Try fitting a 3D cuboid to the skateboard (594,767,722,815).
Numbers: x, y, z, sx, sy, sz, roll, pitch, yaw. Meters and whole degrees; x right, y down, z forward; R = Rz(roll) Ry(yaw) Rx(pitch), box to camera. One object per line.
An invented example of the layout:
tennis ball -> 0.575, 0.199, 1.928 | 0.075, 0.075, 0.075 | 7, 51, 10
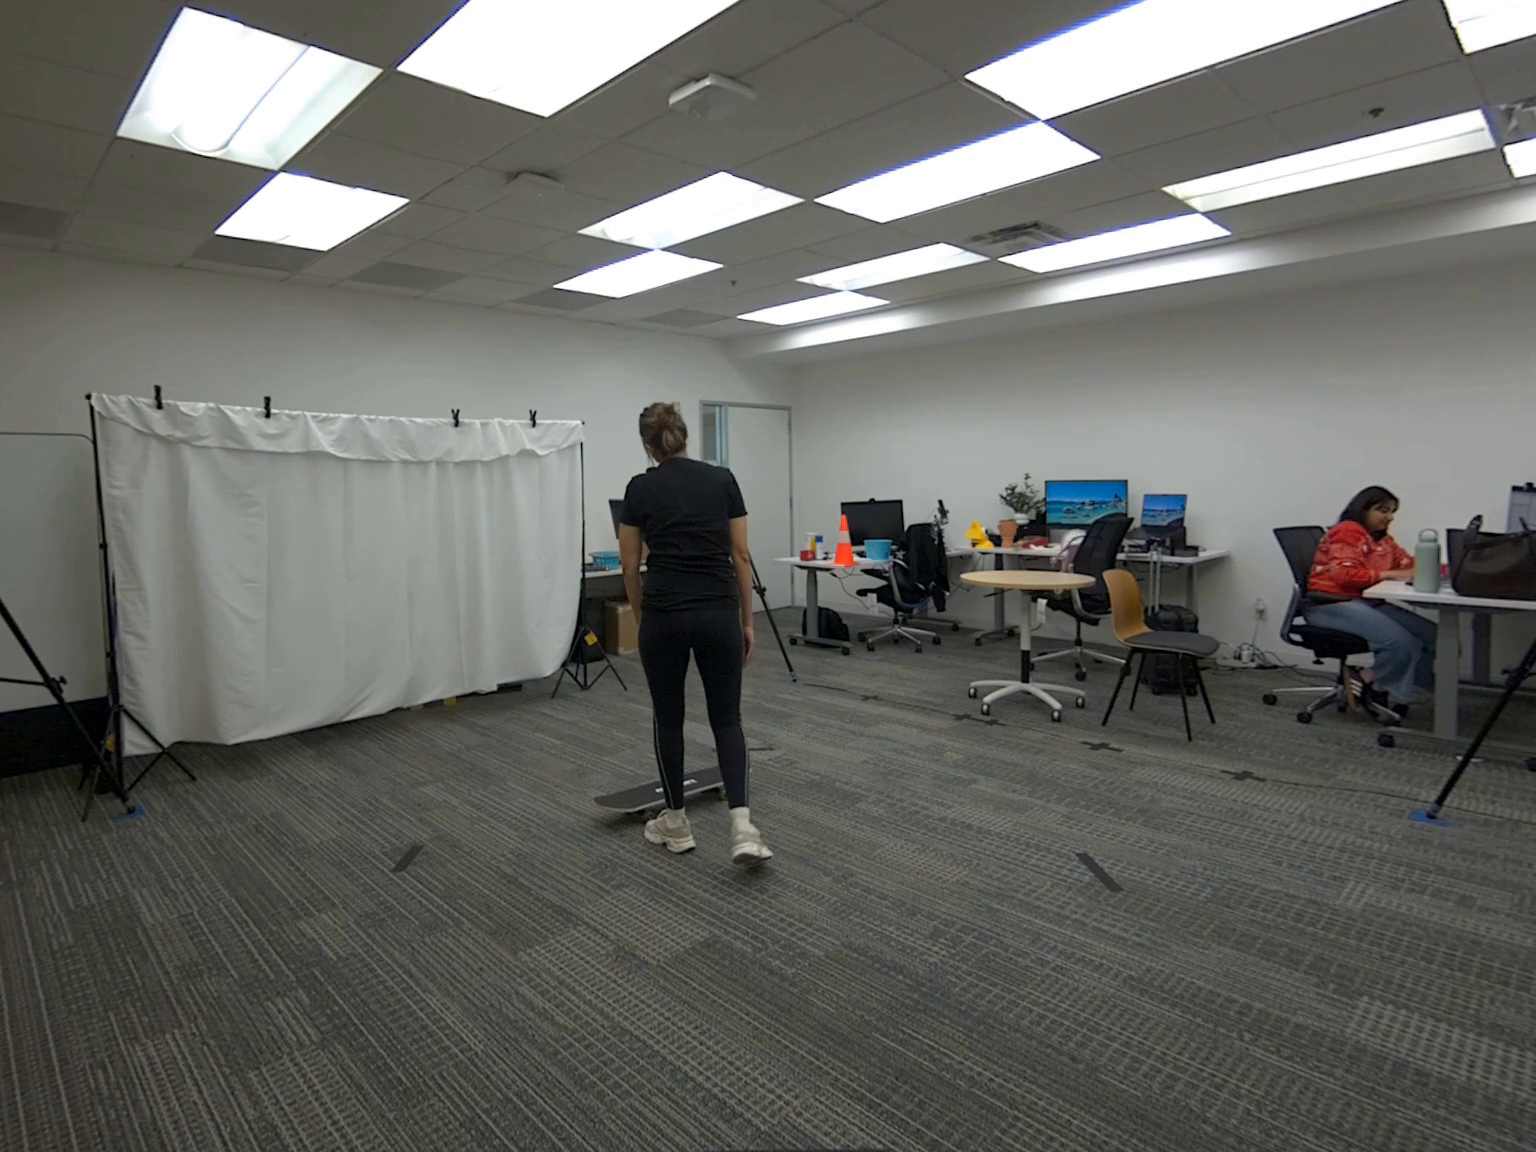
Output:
skateboard -> -0.392, 0.933, 3.678 | 0.765, 0.110, 0.199 | -6, 8, -39
